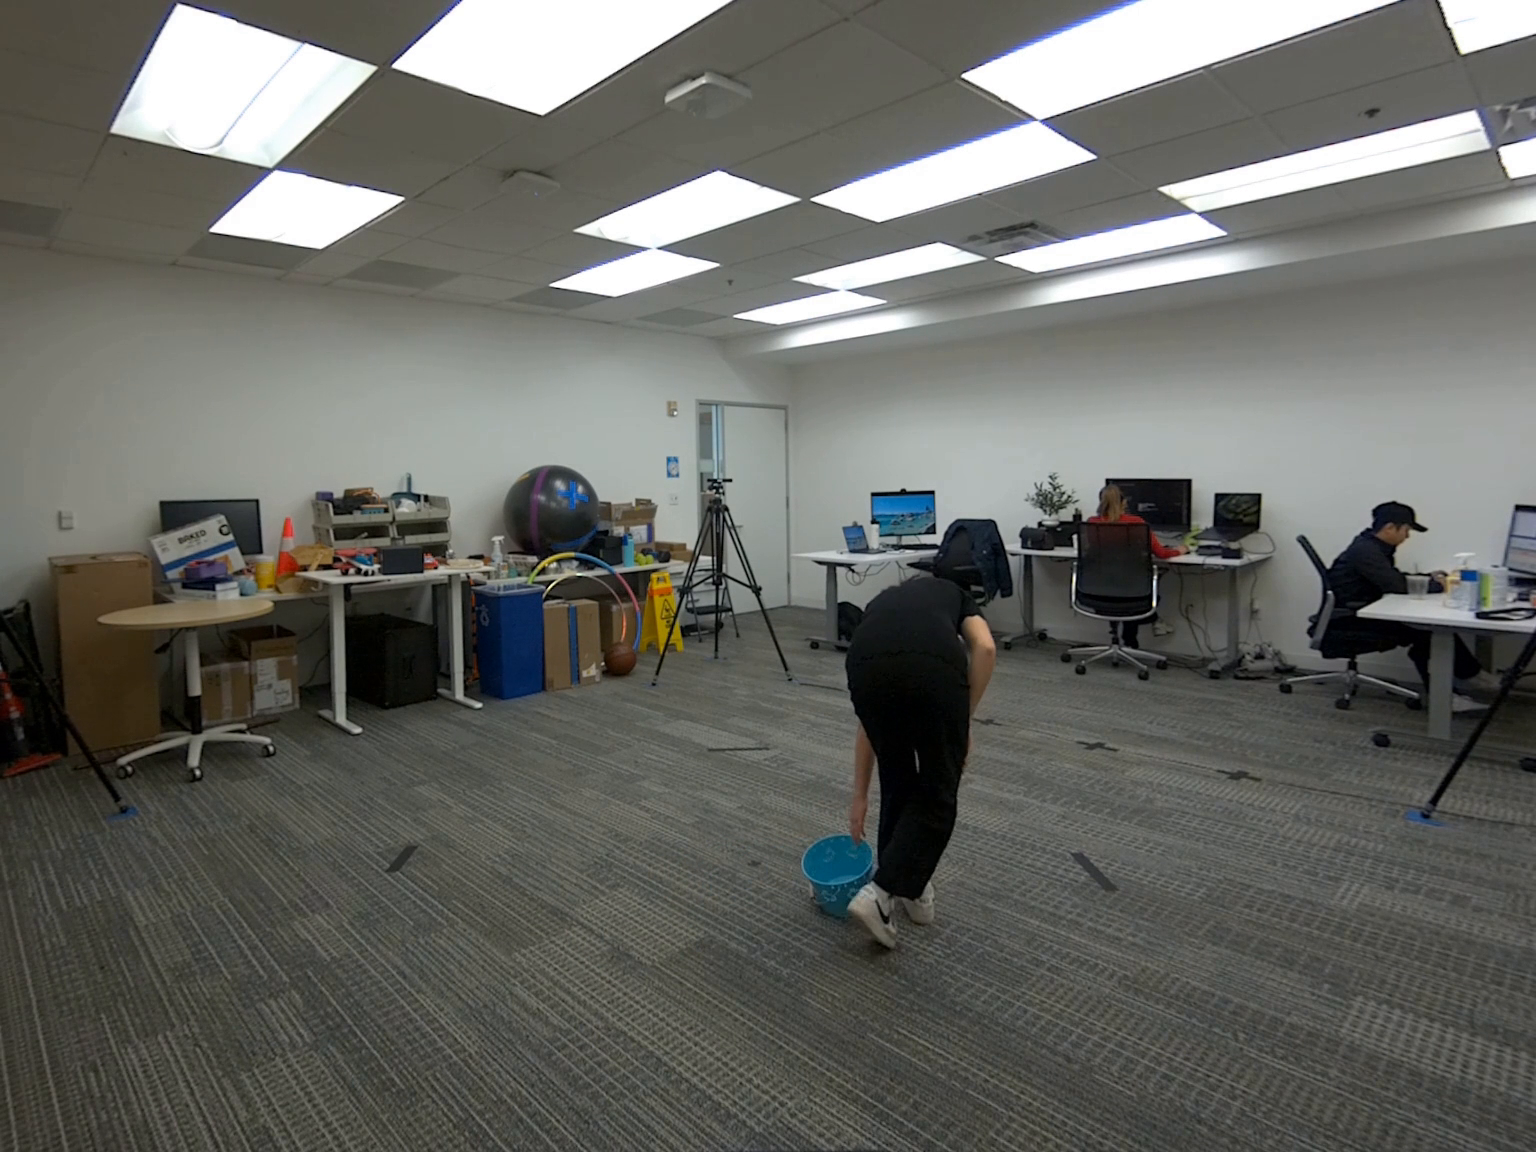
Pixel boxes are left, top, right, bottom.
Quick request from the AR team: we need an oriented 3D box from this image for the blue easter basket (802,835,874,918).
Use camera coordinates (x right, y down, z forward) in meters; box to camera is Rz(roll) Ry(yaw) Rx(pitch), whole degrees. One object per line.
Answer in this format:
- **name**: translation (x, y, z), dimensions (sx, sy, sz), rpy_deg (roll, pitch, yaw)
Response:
- **blue easter basket**: translation (0.245, 0.984, 2.761), dimensions (0.244, 0.153, 0.248), rpy_deg (-12, 20, 3)
